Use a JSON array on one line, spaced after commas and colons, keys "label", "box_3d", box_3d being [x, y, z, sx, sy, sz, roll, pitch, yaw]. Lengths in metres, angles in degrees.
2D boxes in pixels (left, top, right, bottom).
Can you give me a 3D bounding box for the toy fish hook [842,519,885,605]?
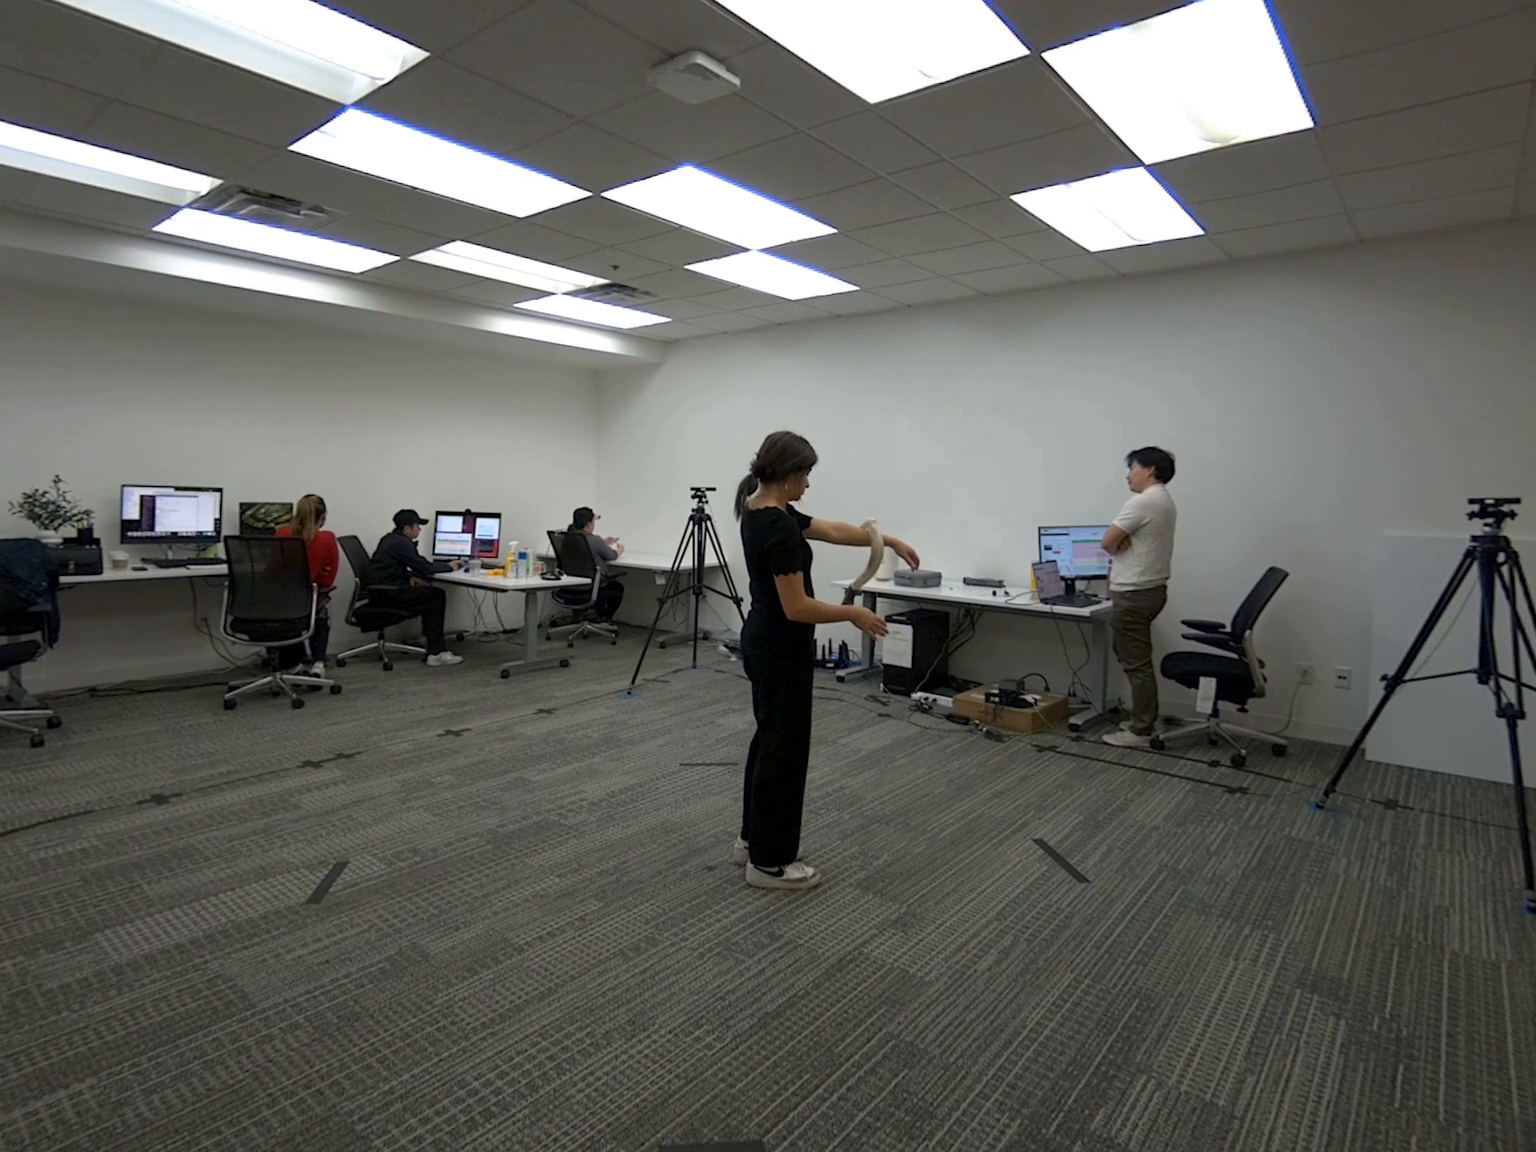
[{"label": "toy fish hook", "box_3d": [0.350, -0.022, 3.340, 0.047, 0.231, 0.498, 6, -39, -14]}]
